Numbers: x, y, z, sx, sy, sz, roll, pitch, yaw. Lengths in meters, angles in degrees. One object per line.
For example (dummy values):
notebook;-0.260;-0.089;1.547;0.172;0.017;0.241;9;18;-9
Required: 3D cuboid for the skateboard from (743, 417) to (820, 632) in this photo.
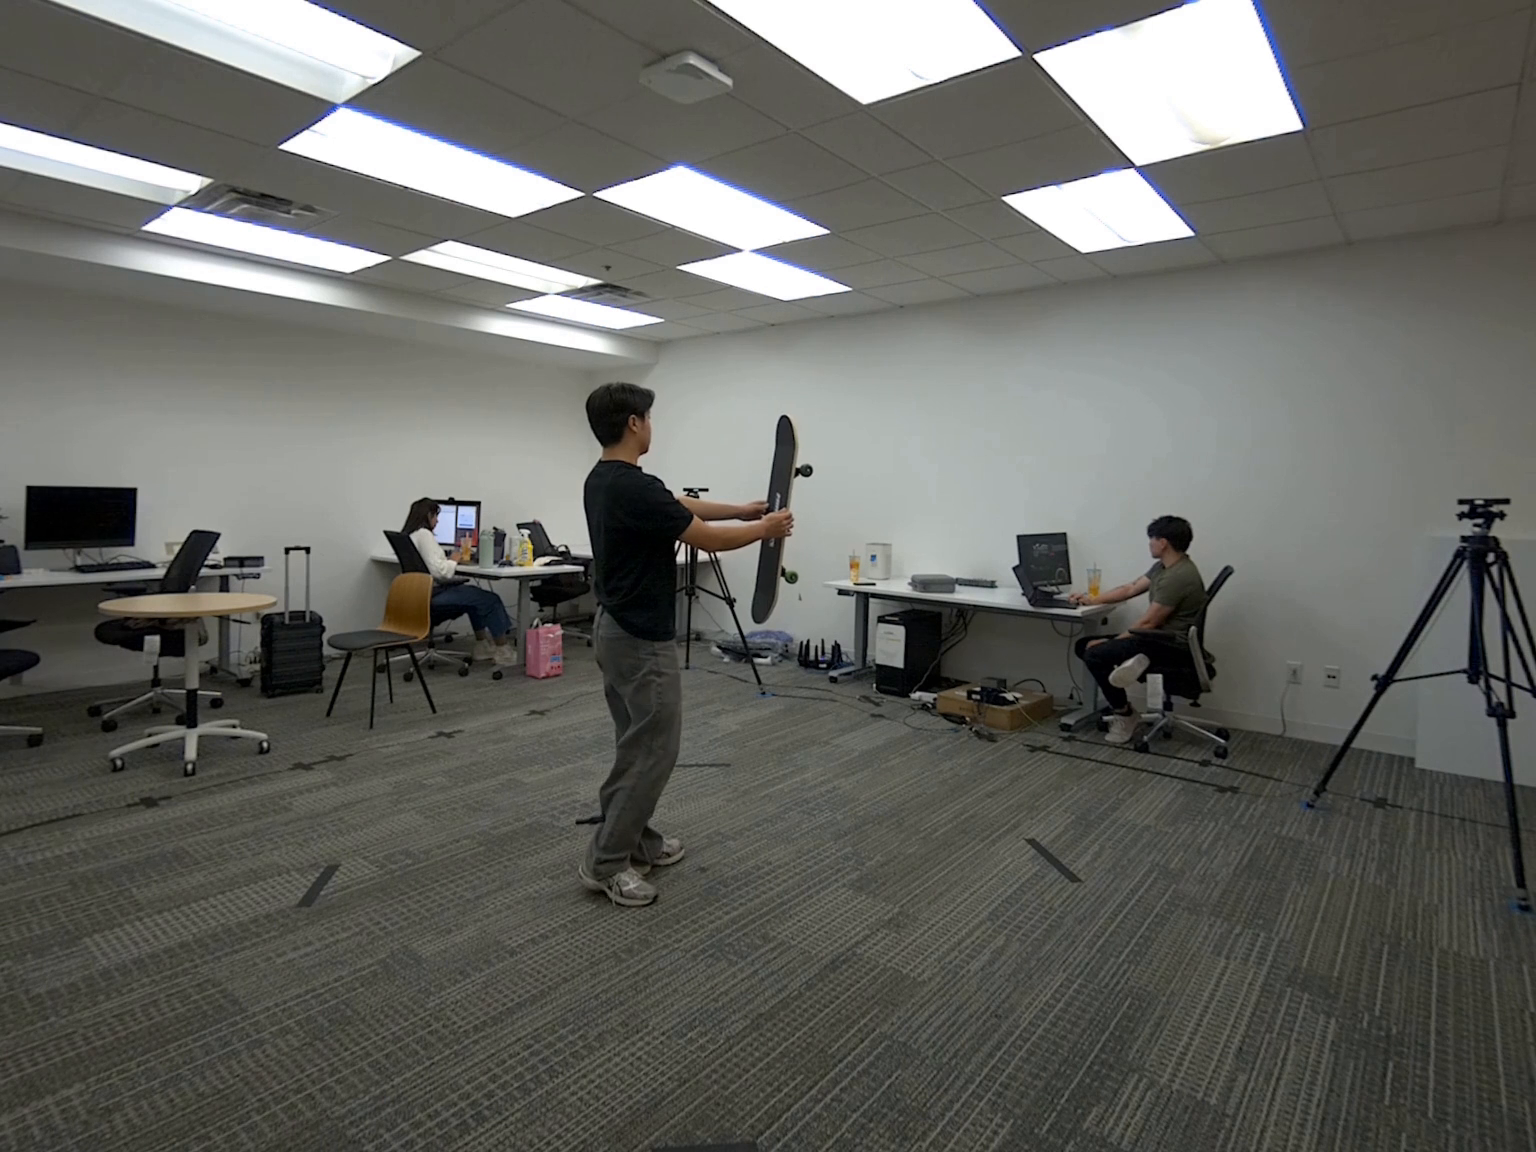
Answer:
skateboard;0.045;-0.202;3.194;0.108;0.783;0.199;7;4;-22
